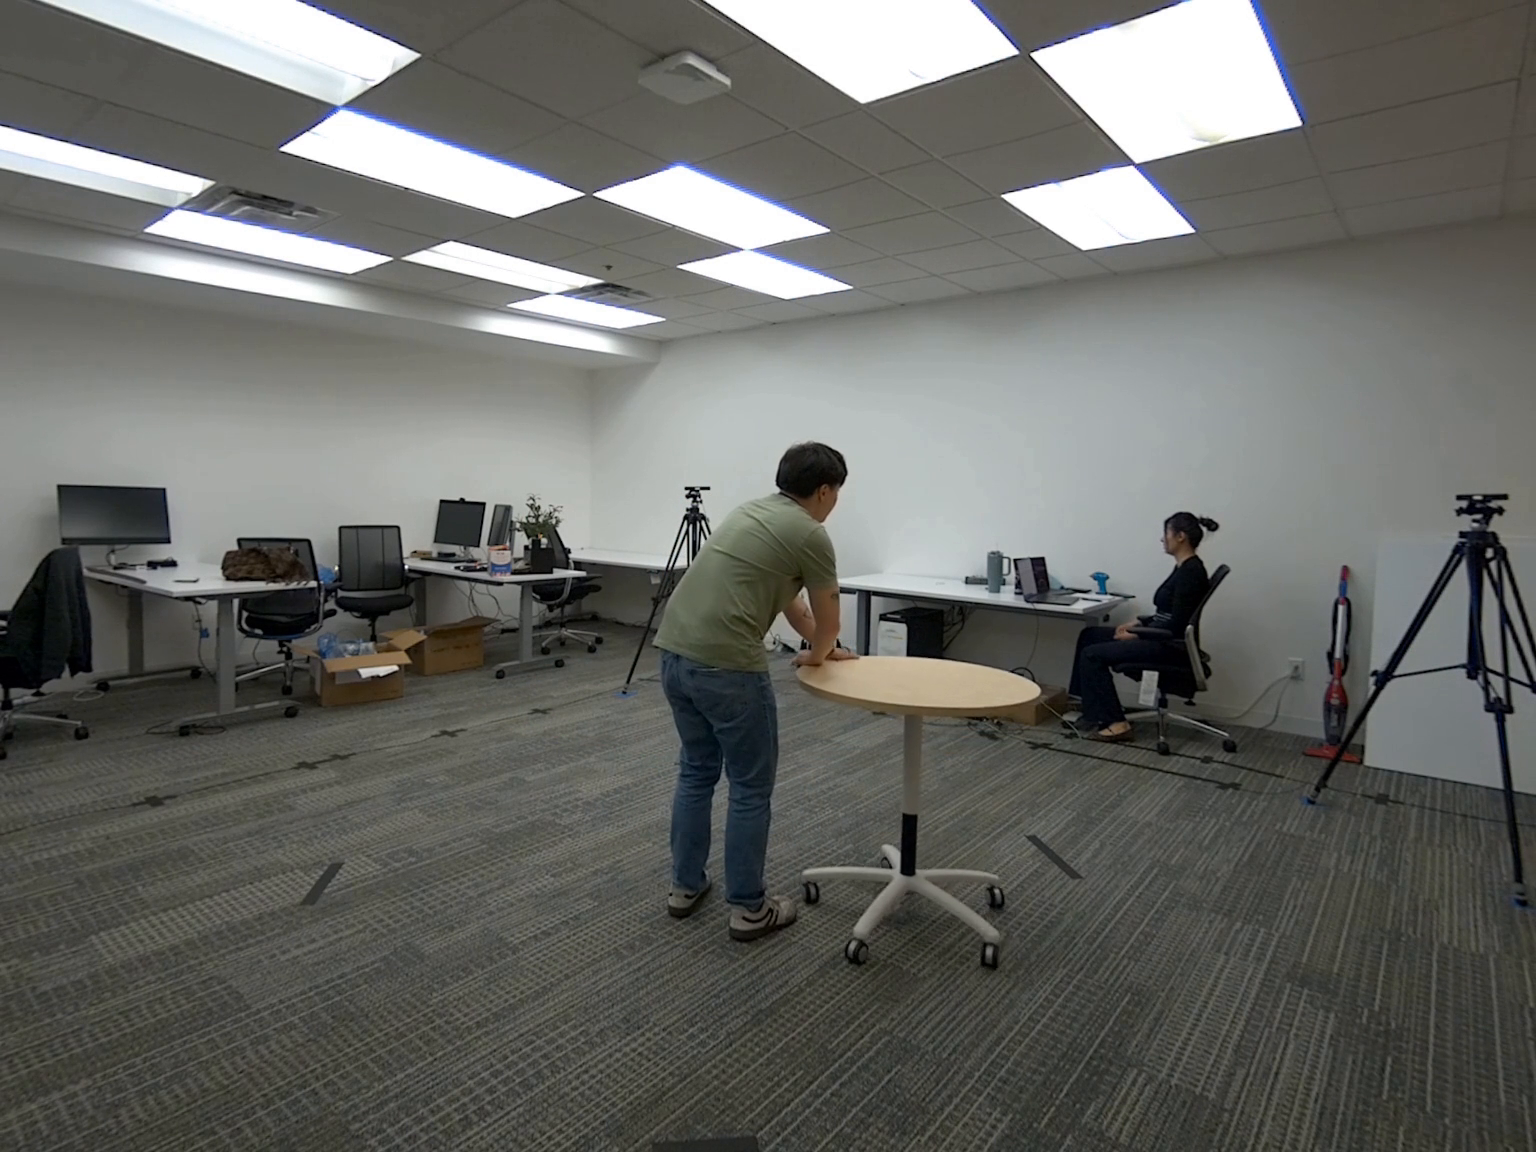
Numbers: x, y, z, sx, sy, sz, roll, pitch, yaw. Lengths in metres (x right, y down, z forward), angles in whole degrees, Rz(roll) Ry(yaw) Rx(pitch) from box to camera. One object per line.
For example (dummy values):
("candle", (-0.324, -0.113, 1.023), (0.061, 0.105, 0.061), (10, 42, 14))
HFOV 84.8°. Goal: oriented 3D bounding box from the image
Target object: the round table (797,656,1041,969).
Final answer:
("round table", (0.453, 0.726, 2.770), (0.763, 0.791, 0.768), (1, 4, -2))
